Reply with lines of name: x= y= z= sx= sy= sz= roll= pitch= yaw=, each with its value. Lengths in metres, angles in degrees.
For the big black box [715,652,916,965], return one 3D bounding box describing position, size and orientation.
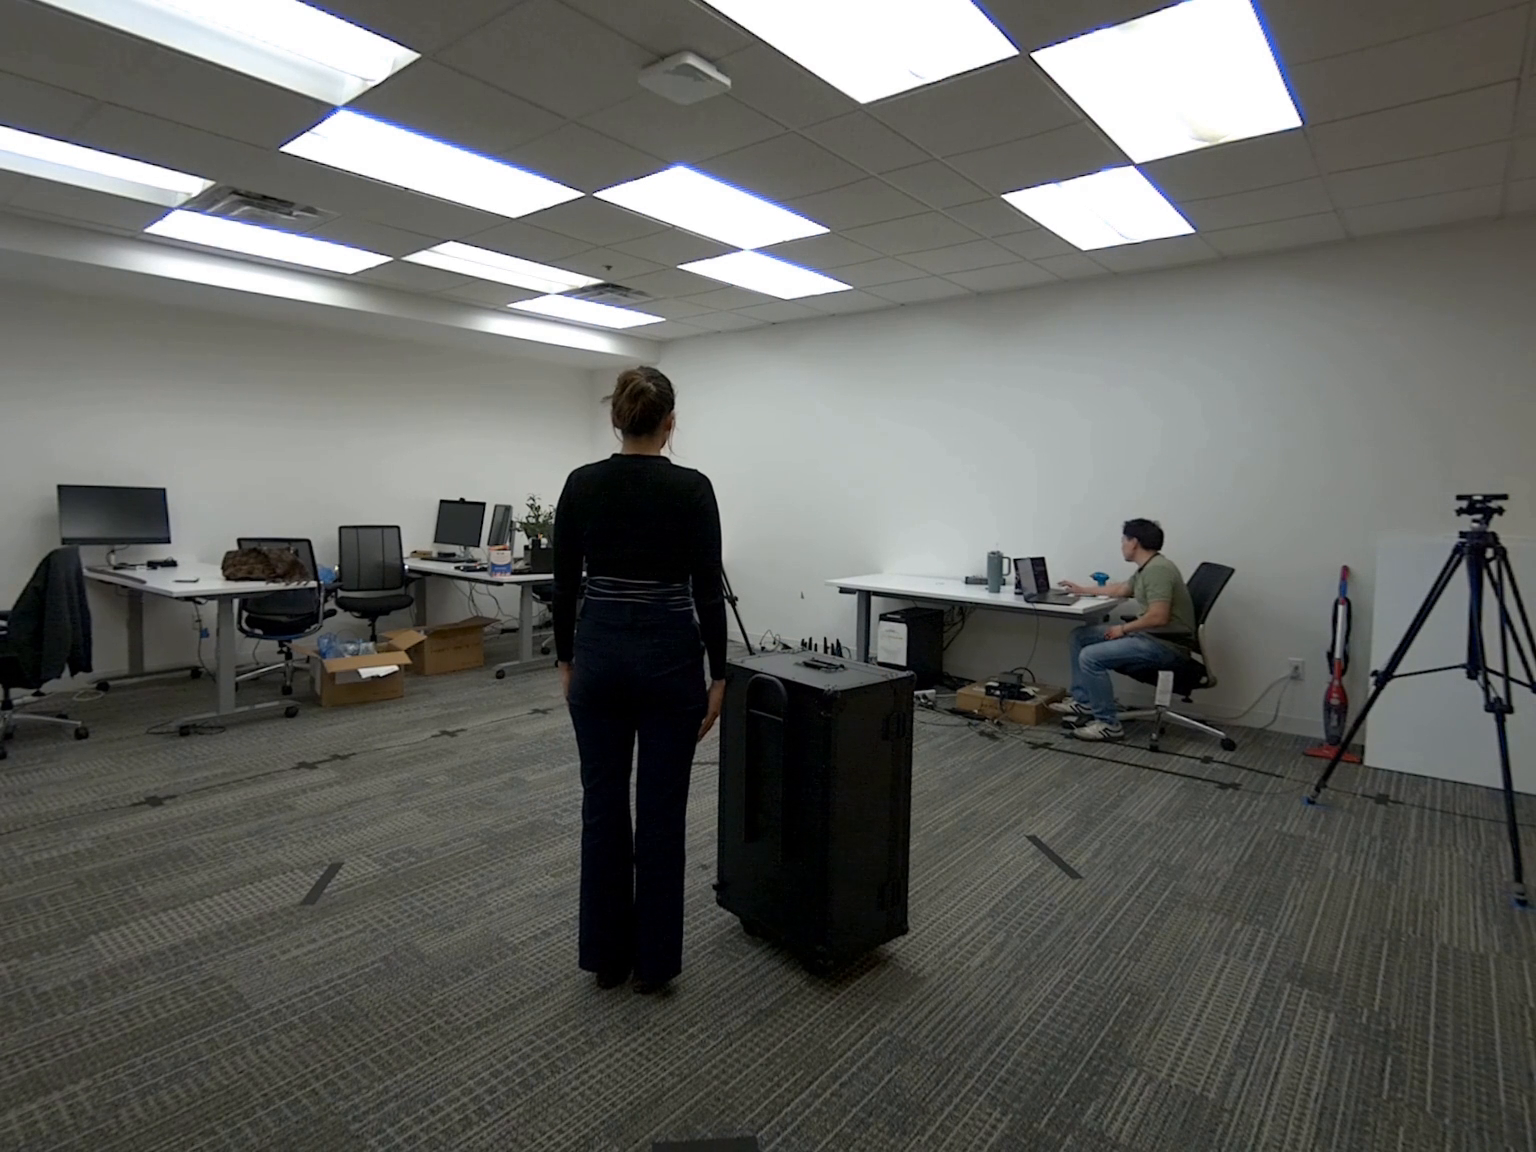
big black box: x=0.126 y=0.696 z=2.586 sx=0.384 sy=0.858 sz=0.539 roll=-3 pitch=6 yaw=-40
